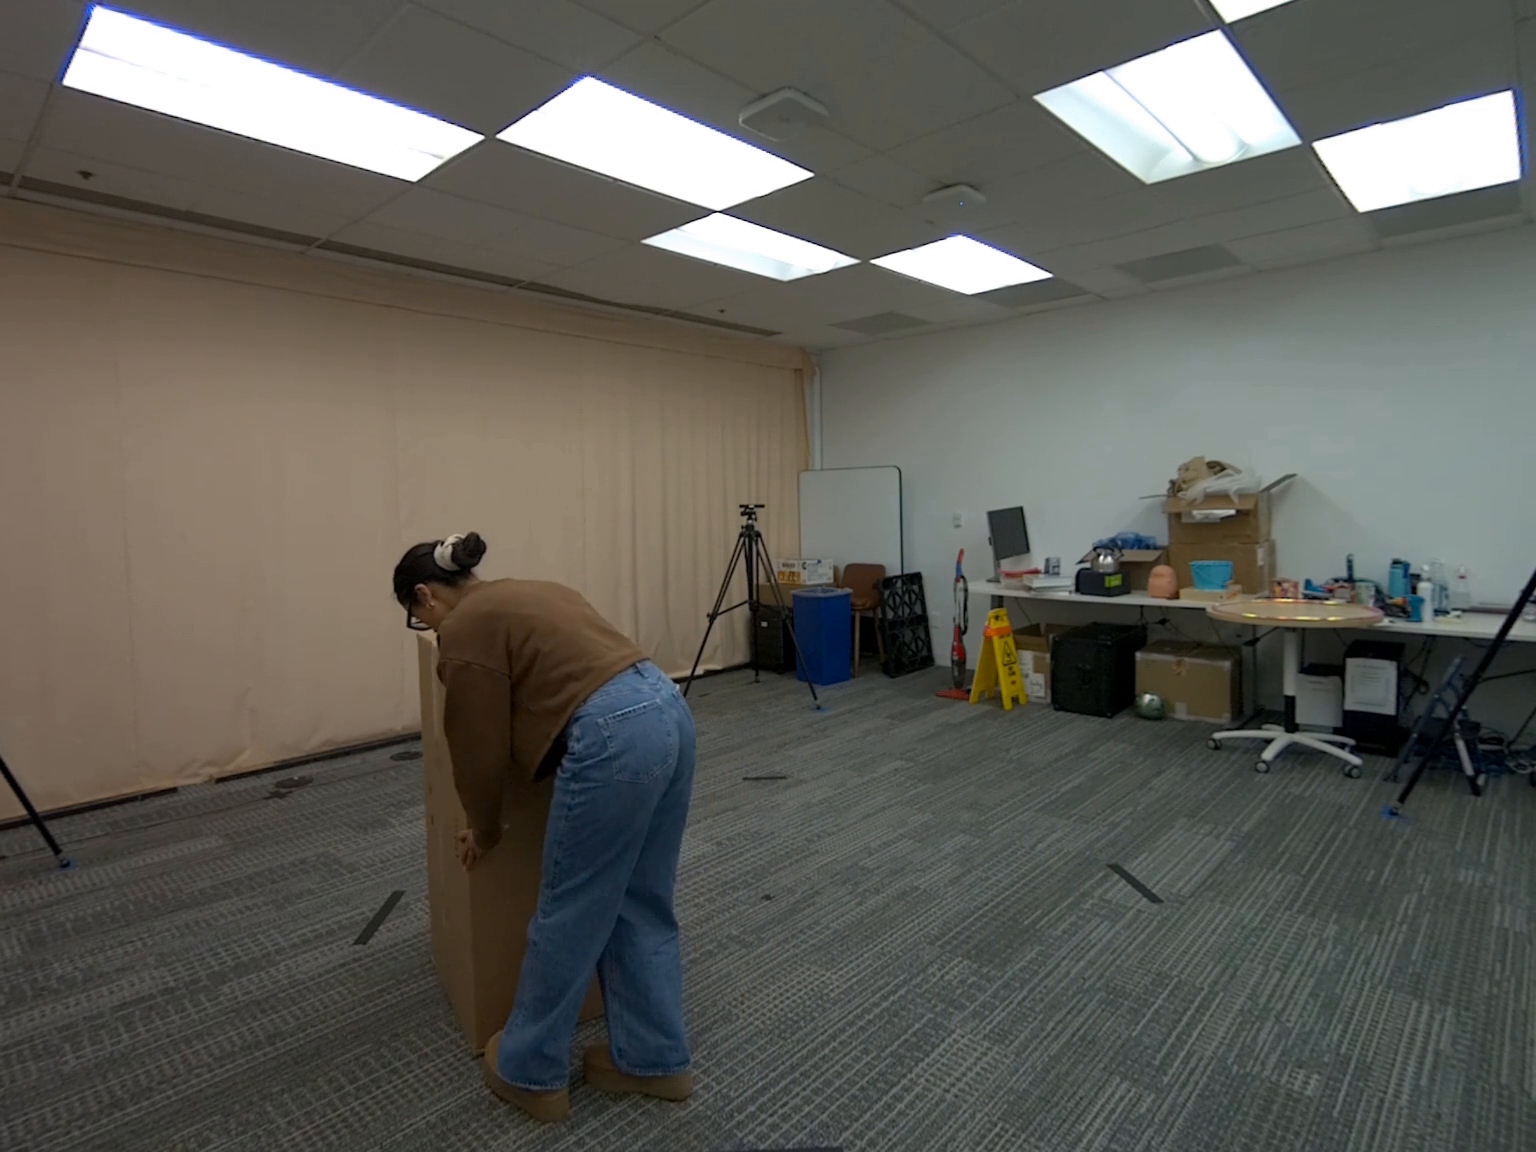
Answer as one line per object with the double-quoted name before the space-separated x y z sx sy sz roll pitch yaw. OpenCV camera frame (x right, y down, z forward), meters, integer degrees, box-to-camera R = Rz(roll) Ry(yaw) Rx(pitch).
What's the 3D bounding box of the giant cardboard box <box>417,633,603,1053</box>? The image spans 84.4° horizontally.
"giant cardboard box" -0.734 0.690 2.468 0.415 1.024 0.594 -3 2 -32
